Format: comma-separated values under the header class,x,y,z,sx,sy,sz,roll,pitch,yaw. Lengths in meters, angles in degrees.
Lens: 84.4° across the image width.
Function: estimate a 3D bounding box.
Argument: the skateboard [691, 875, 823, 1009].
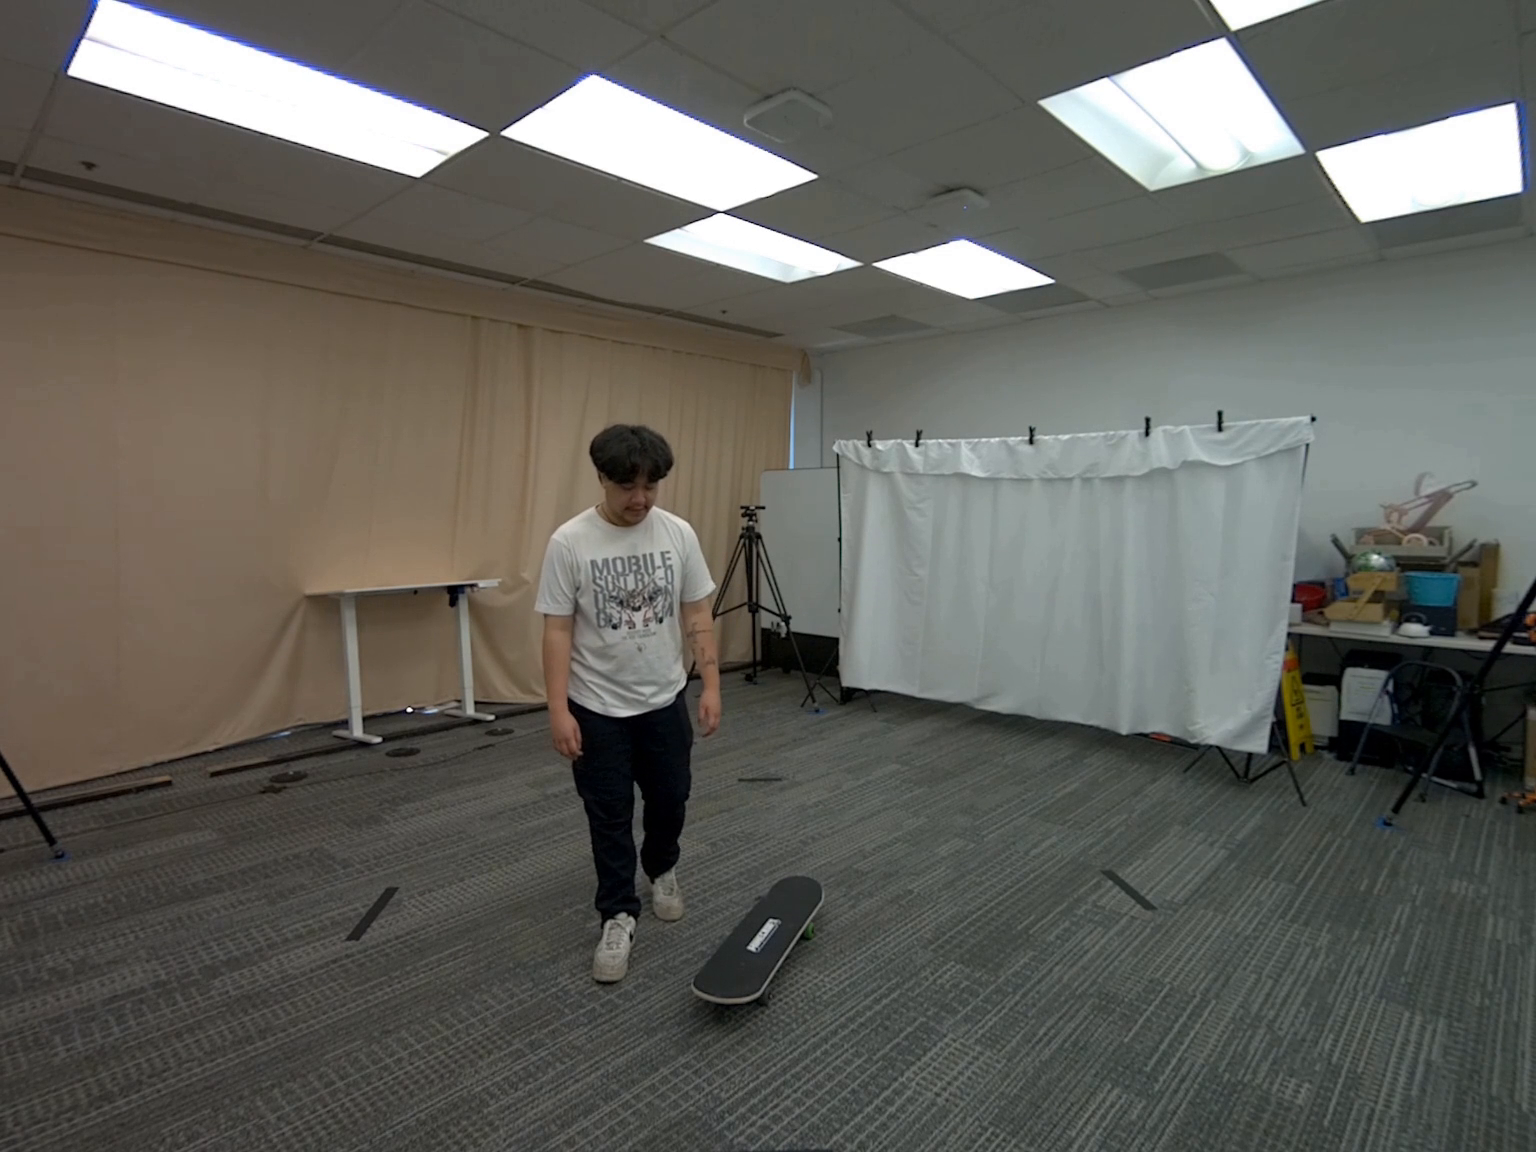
class,x,y,z,sx,sy,sz,roll,pitch,yaw
skateboard,-0.010,1.121,2.566,0.198,0.110,0.769,2,5,22
